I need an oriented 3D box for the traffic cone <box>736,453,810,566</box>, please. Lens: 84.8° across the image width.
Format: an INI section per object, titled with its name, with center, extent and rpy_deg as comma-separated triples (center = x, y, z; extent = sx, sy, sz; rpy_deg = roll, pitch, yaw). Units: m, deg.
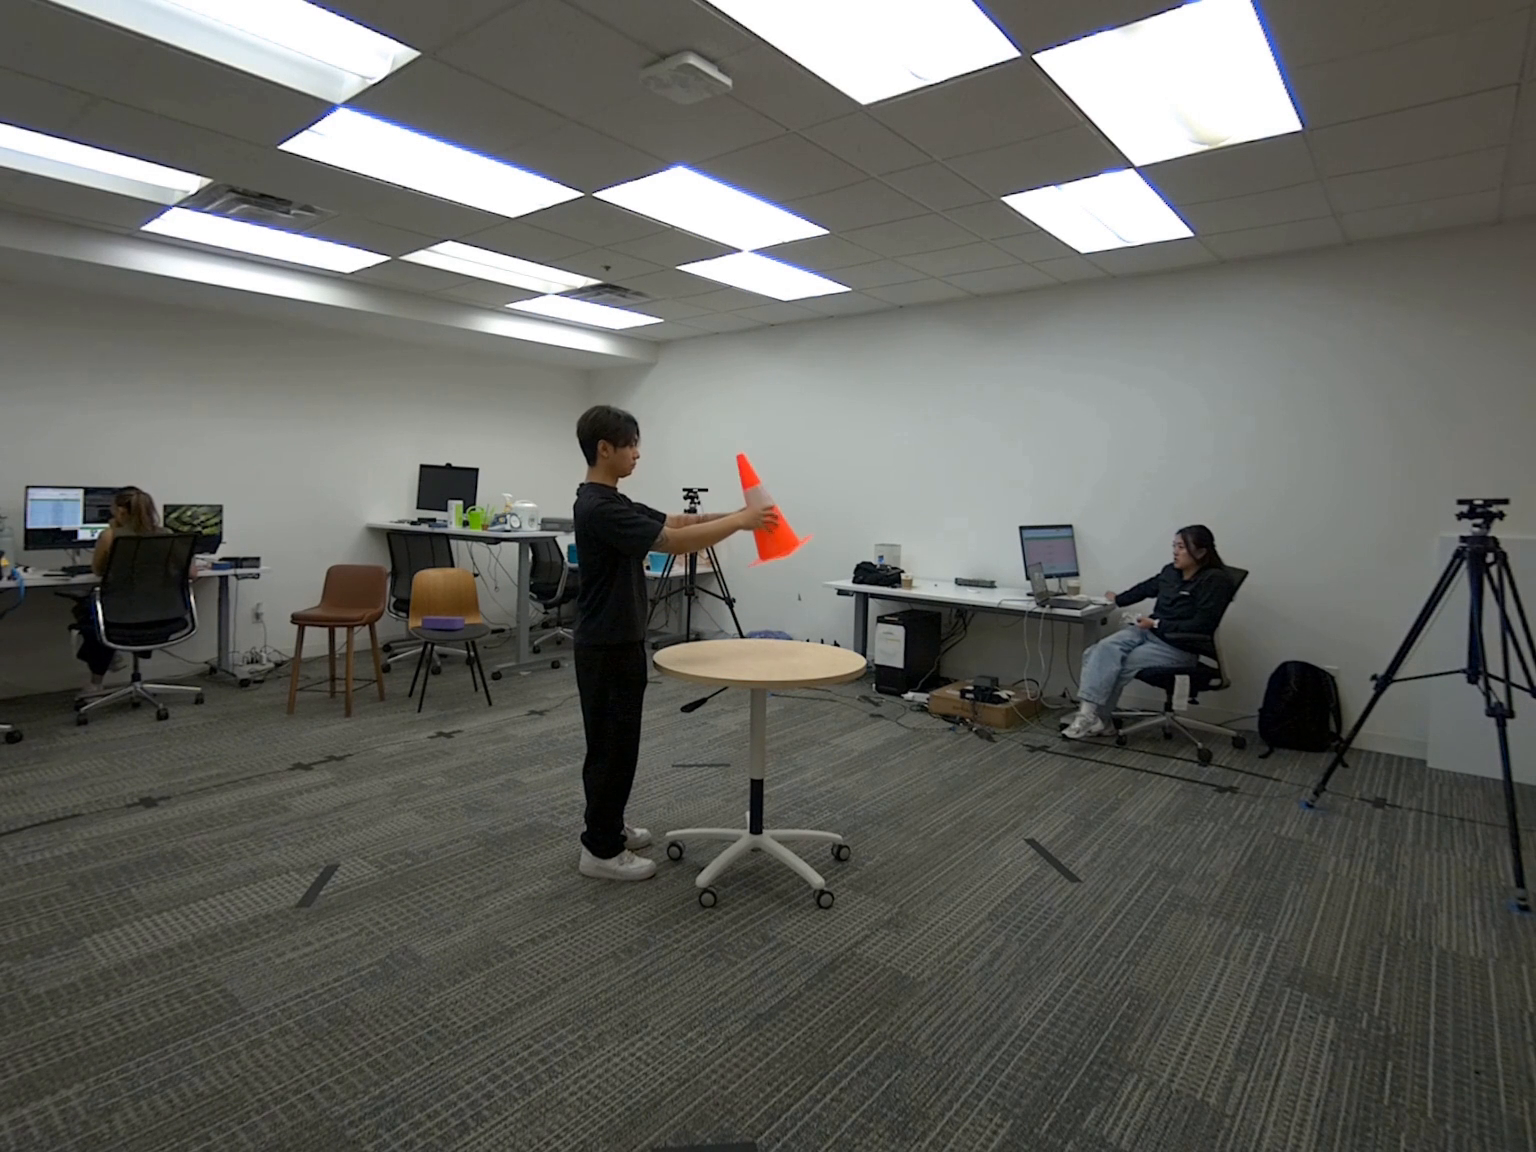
[traffic cone]
center = -0.044, -0.256, 3.036
extent = 0.209, 0.380, 0.201
rpy_deg = -17, 11, 38
